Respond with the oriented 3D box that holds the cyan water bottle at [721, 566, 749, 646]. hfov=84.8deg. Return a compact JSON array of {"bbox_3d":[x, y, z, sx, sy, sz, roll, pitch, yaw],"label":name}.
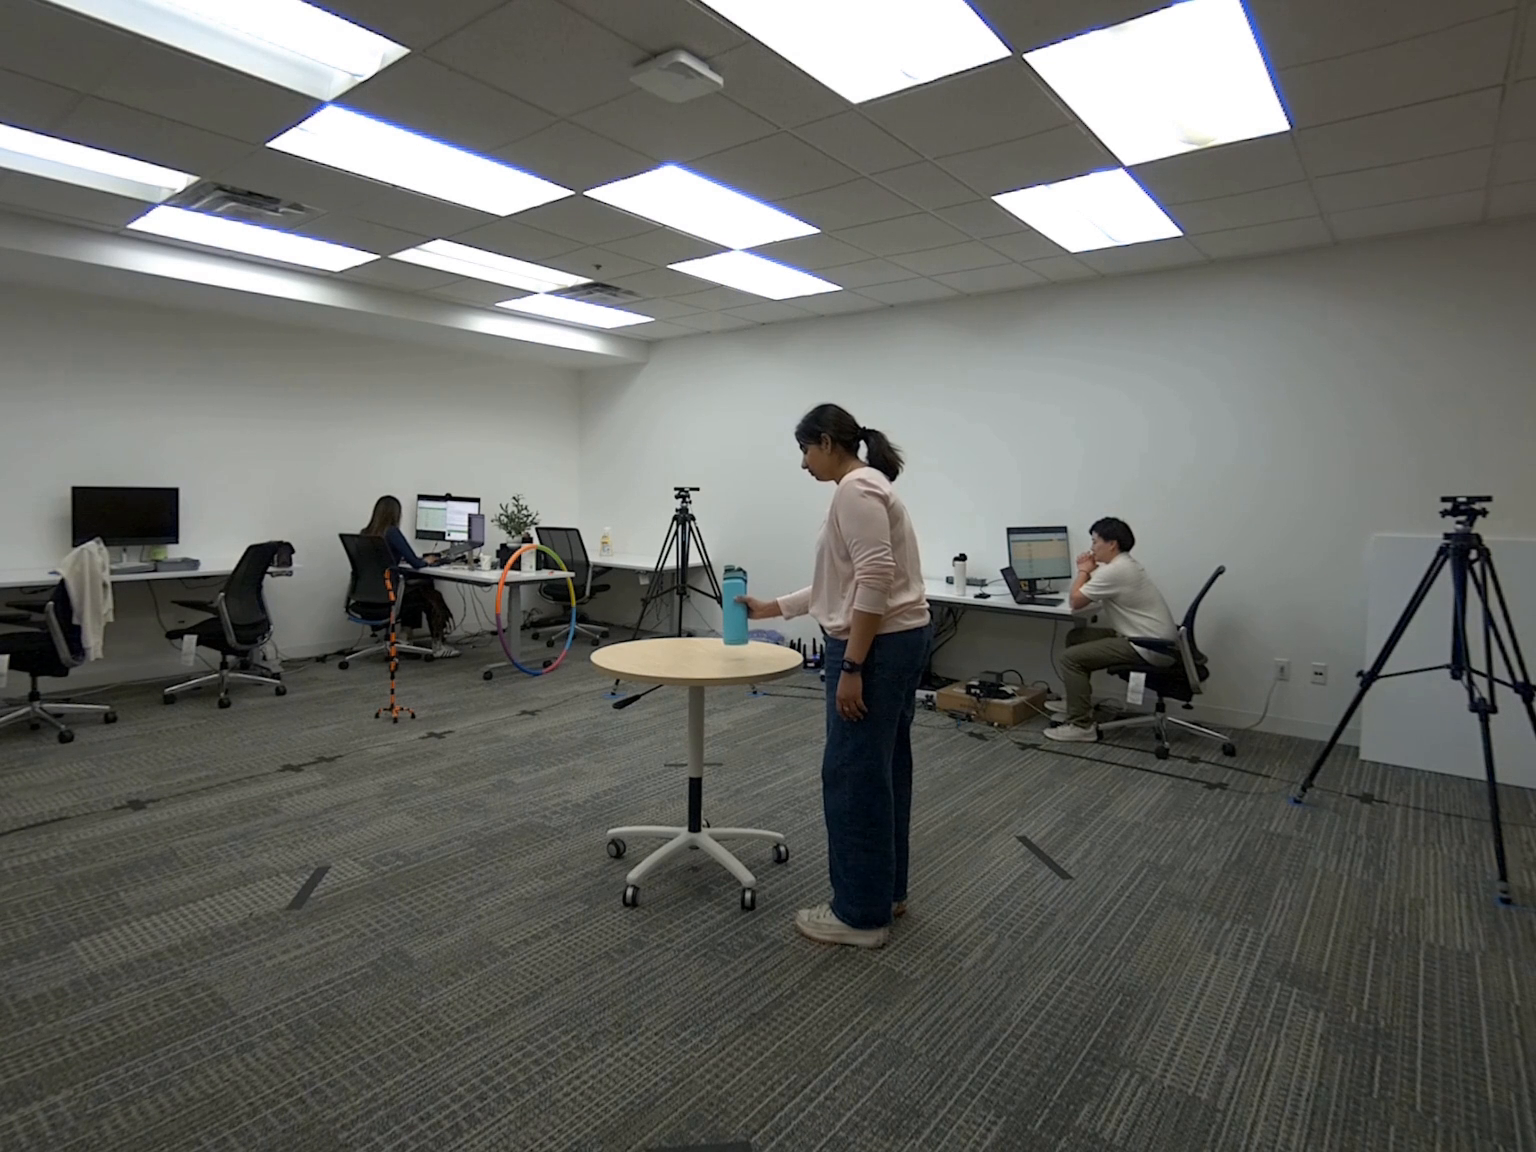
[{"bbox_3d":[-0.123,0.101,3.040,0.092,0.286,0.091,-1,-9,-2],"label":"cyan water bottle"}]
